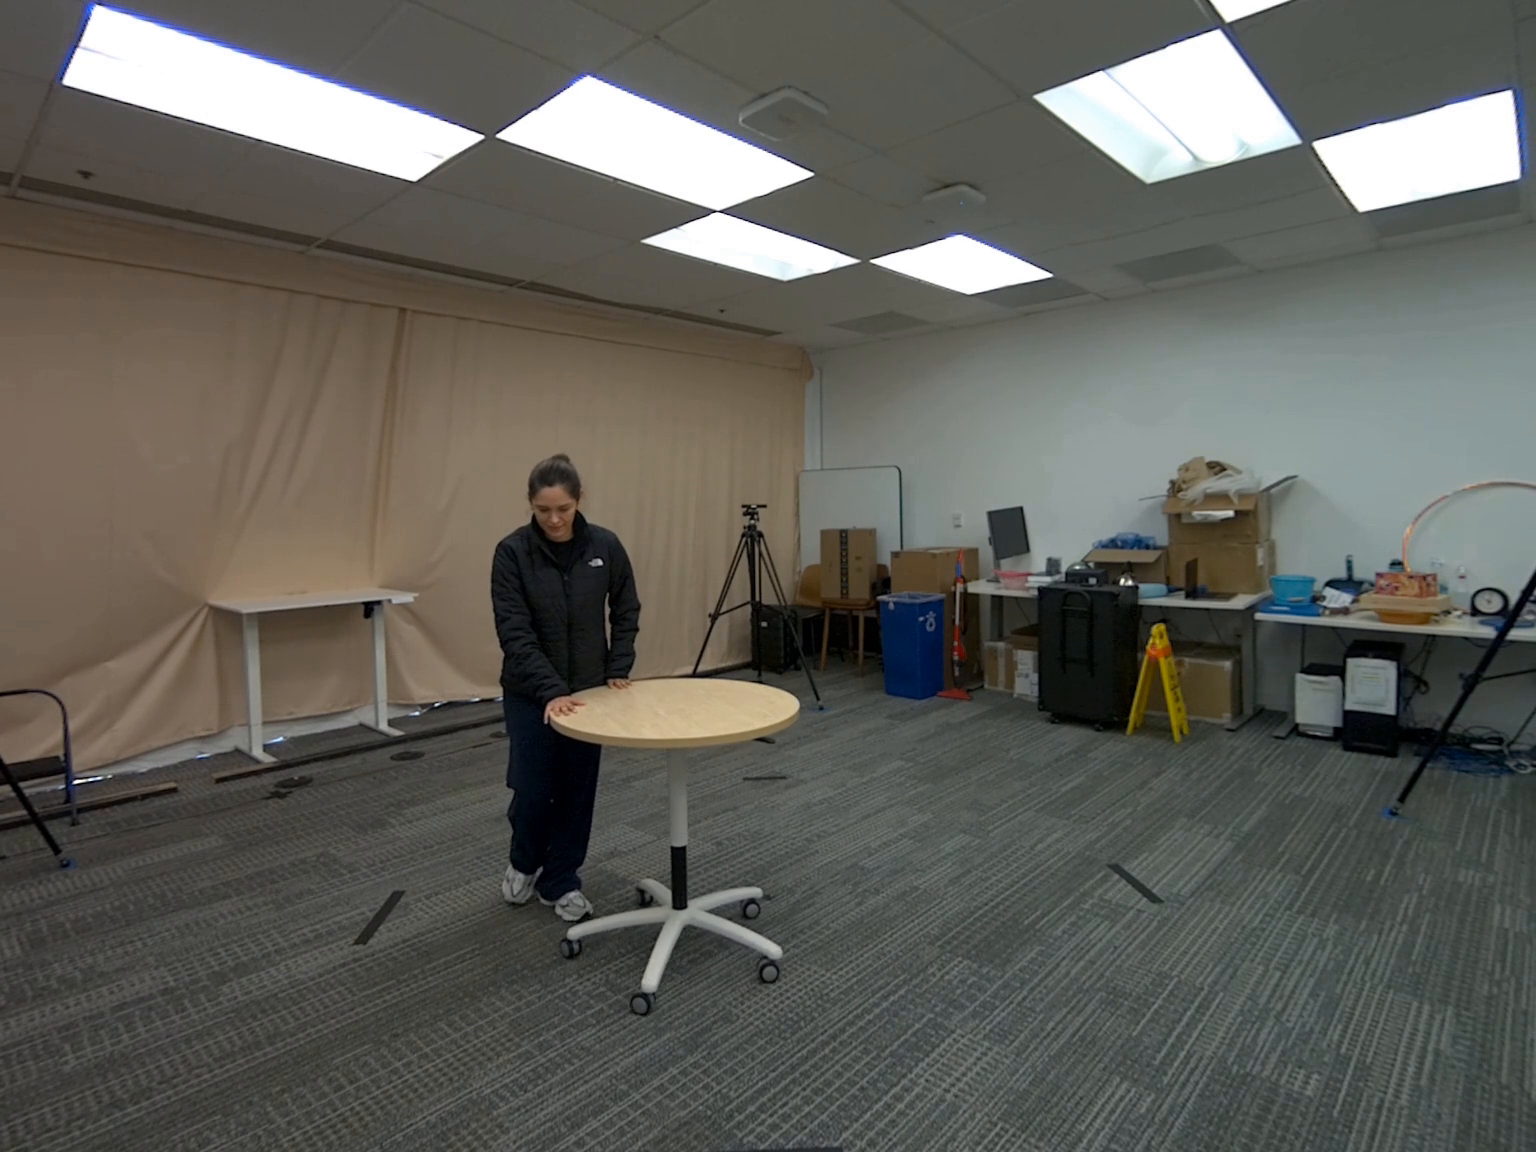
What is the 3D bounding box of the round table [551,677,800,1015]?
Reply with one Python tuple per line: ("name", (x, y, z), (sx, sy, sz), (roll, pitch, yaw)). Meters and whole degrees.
("round table", (-0.277, 0.784, 2.621), (0.784, 0.785, 0.788), (-1, 4, -2))
